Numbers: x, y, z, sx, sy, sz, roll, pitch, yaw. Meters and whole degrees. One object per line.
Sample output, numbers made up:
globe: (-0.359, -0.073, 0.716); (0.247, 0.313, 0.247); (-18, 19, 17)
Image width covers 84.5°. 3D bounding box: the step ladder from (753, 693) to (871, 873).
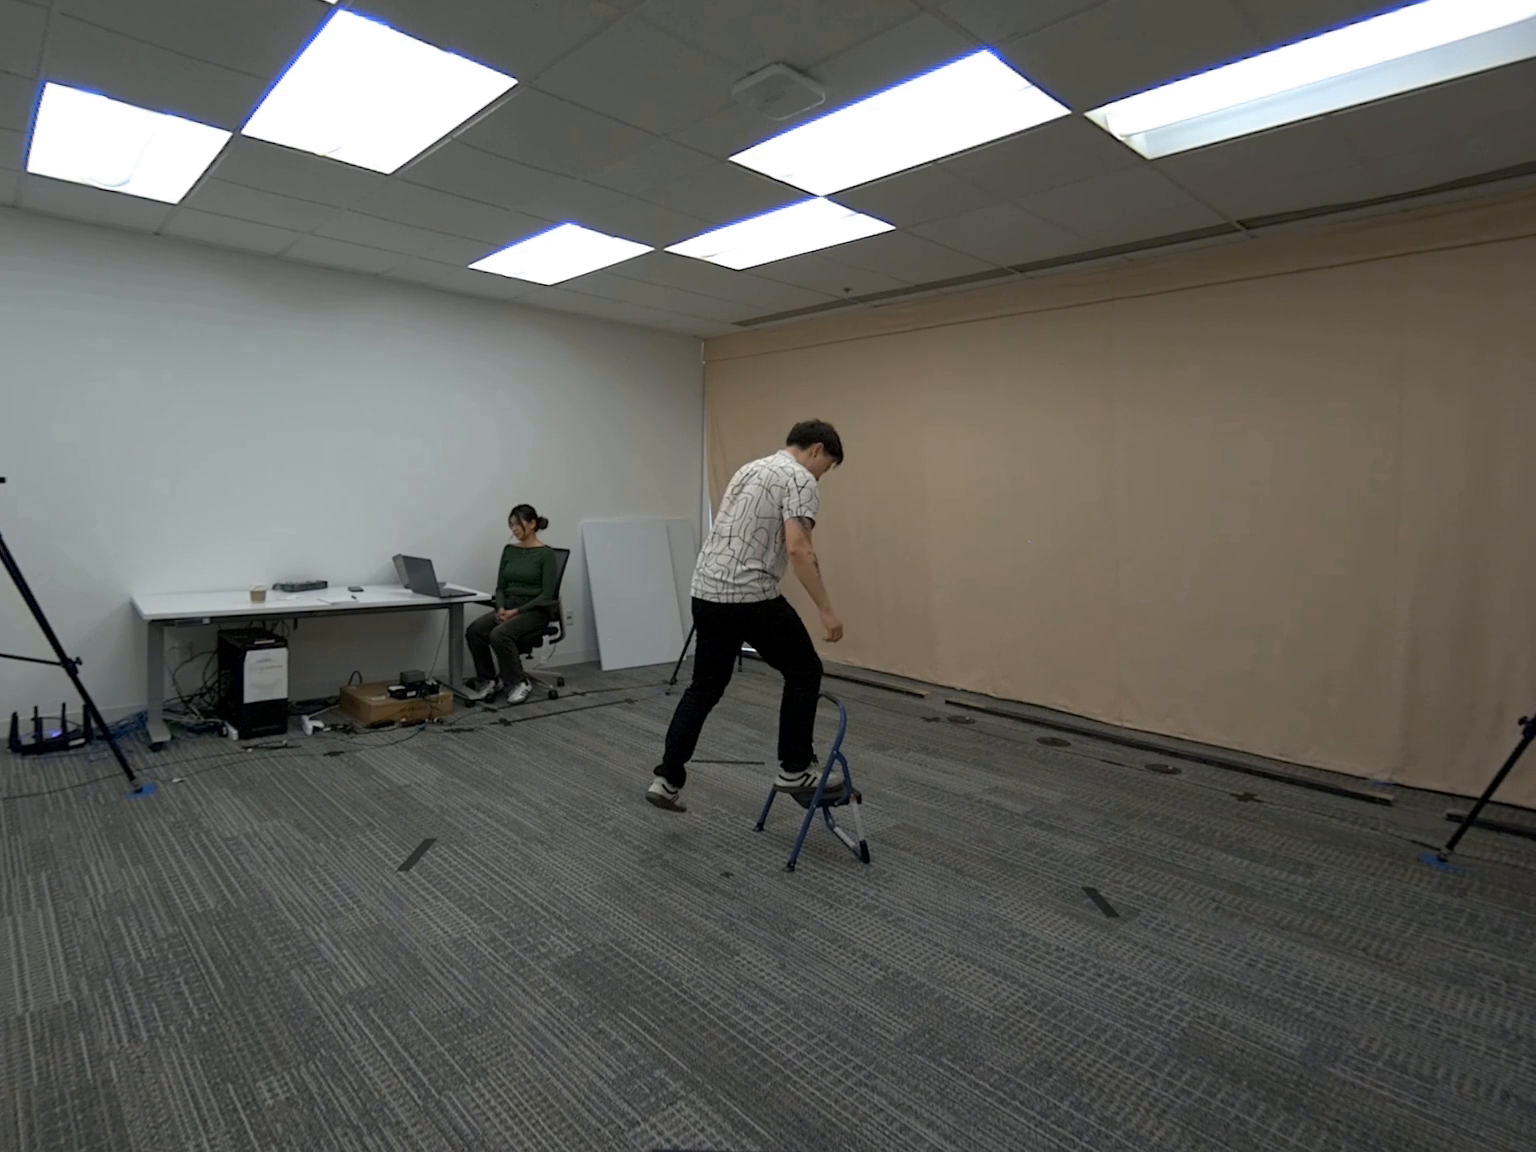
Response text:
step ladder: (0.171, 0.787, 3.365); (0.345, 0.605, 0.437); (1, 3, -17)
